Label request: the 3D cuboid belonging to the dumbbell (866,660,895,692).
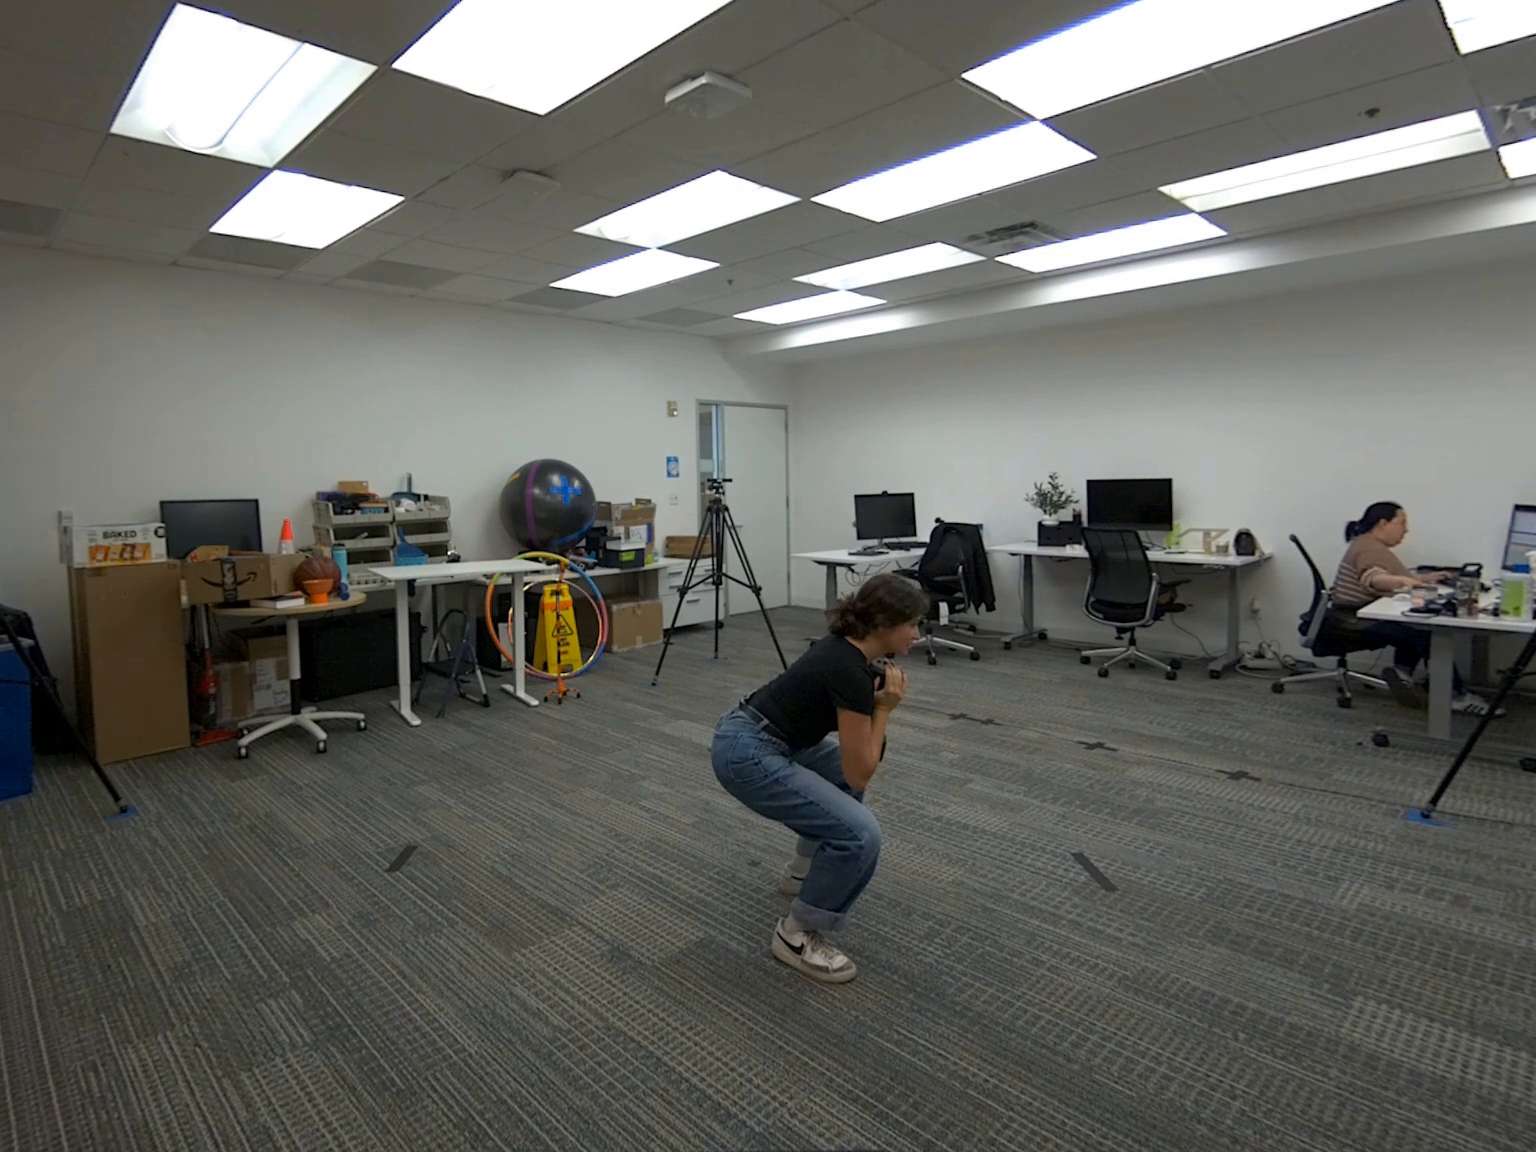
[{"bbox_3d":[0.312,0.406,2.610,0.127,0.292,0.106,17,8,30],"label":"dumbbell"}]
